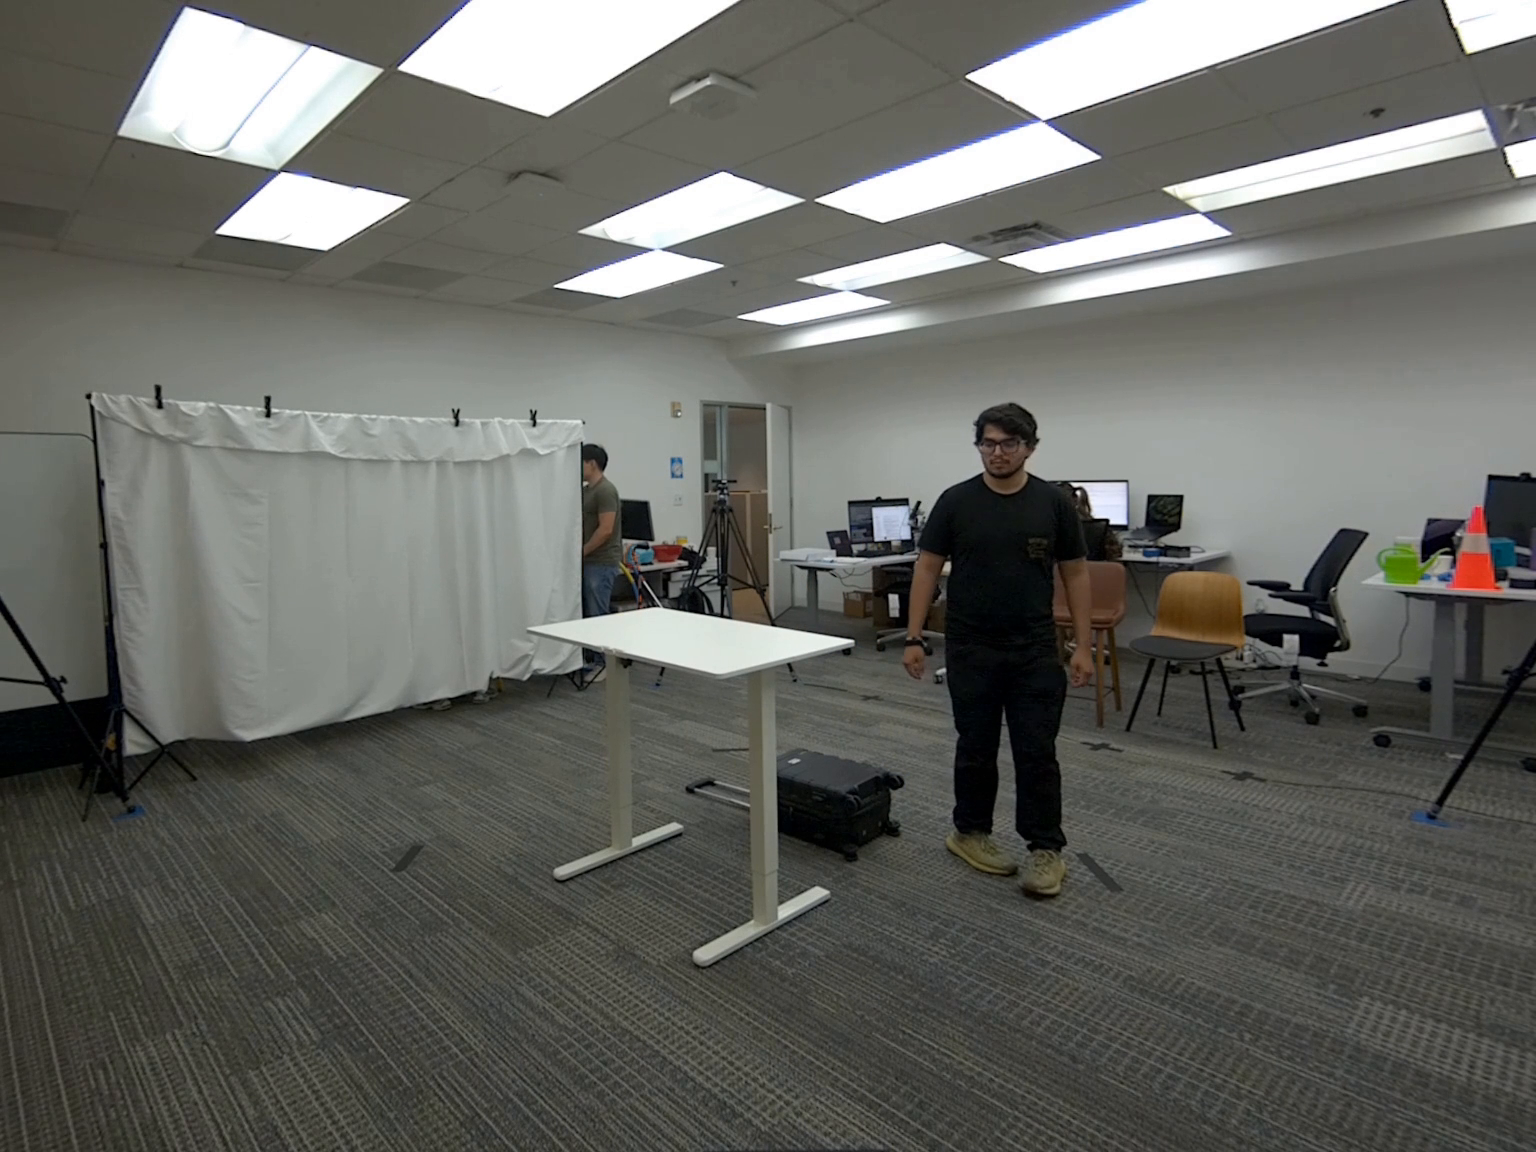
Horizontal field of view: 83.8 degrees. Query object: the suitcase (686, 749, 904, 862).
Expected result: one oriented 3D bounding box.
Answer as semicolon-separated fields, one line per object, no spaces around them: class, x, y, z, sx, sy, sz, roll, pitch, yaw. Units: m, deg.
suitcase;0.059;0.870;3.565;1.009;0.255;0.374;6;10;41
